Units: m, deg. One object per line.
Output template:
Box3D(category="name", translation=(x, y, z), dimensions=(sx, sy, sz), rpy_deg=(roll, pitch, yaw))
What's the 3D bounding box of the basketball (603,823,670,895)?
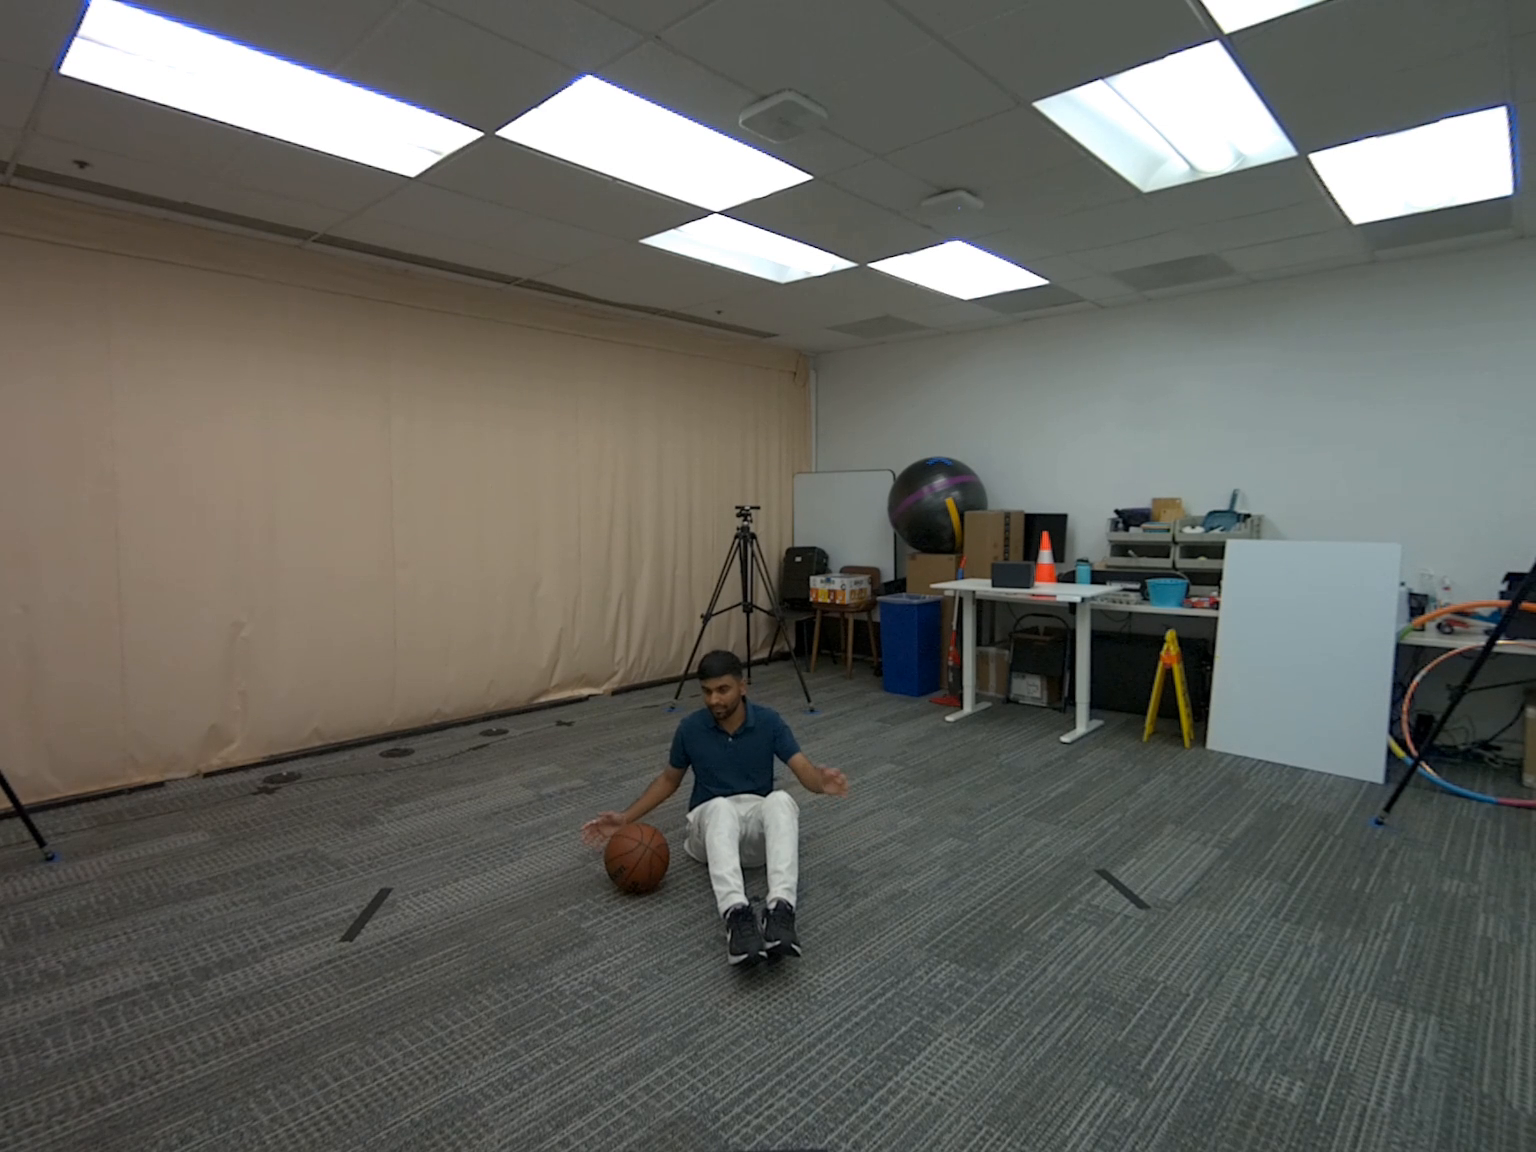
Box3D(category="basketball", translation=(-0.475, 1.021, 3.061), dimensions=(0.236, 0.235, 0.237), rpy_deg=(0, 4, -2))
